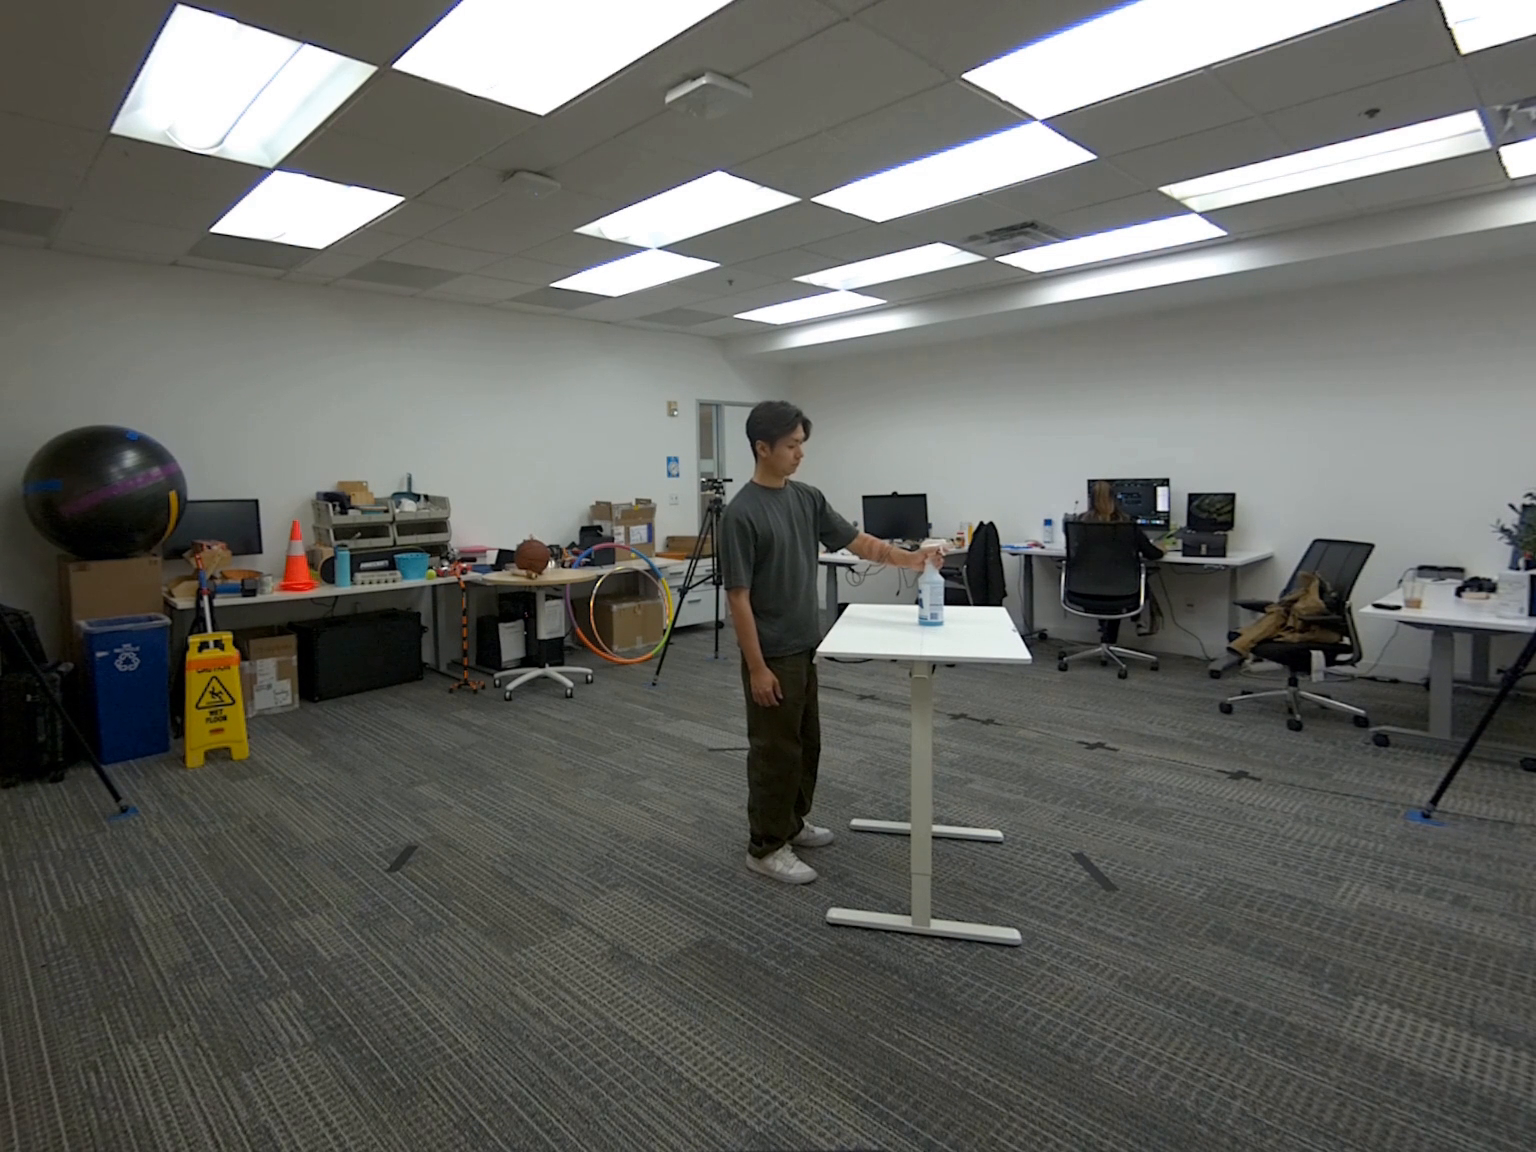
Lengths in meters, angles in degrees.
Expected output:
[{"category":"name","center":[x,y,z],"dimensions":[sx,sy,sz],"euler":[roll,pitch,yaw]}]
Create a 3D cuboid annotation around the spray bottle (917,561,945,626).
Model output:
[{"category":"spray bottle","center":[0.564,0.022,2.956],"dimensions":[0.085,0.296,0.092],"euler":[-3,5,-31]}]
